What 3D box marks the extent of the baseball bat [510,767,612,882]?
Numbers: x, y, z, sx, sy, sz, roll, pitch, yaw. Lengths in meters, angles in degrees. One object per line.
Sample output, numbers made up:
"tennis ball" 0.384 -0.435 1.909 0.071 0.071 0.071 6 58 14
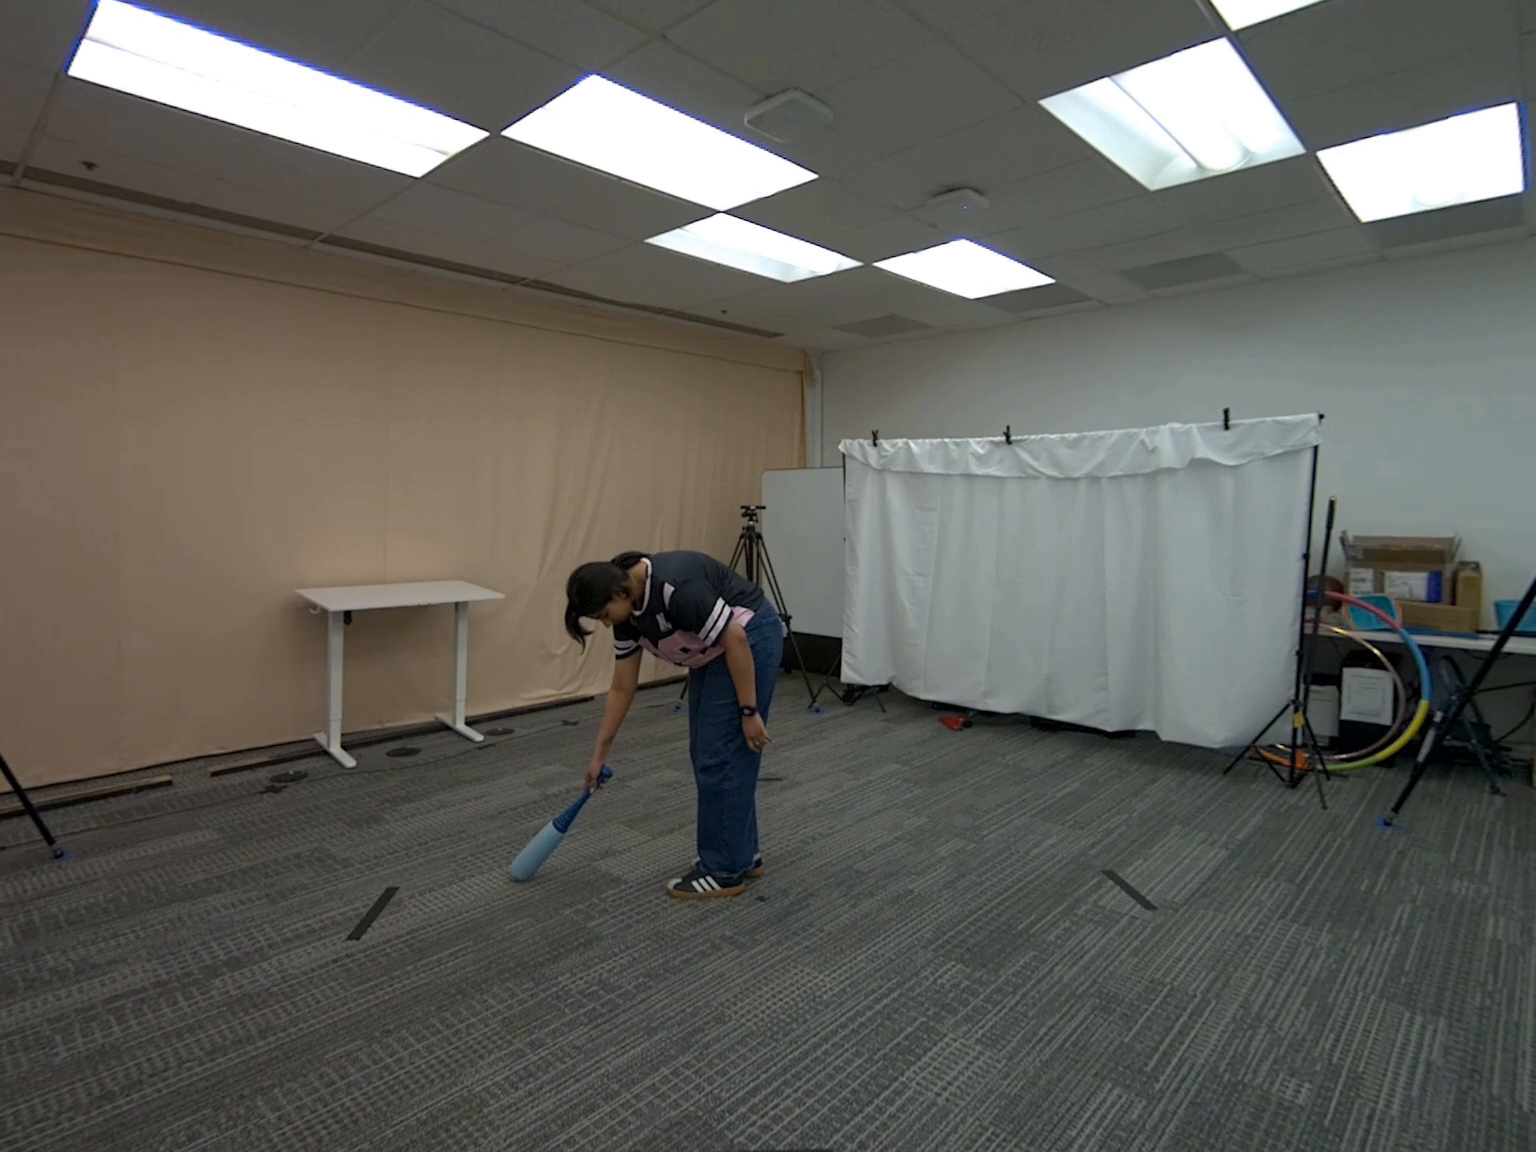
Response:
"baseball bat" -0.757 0.925 3.125 0.088 0.544 0.090 41 7 -8
